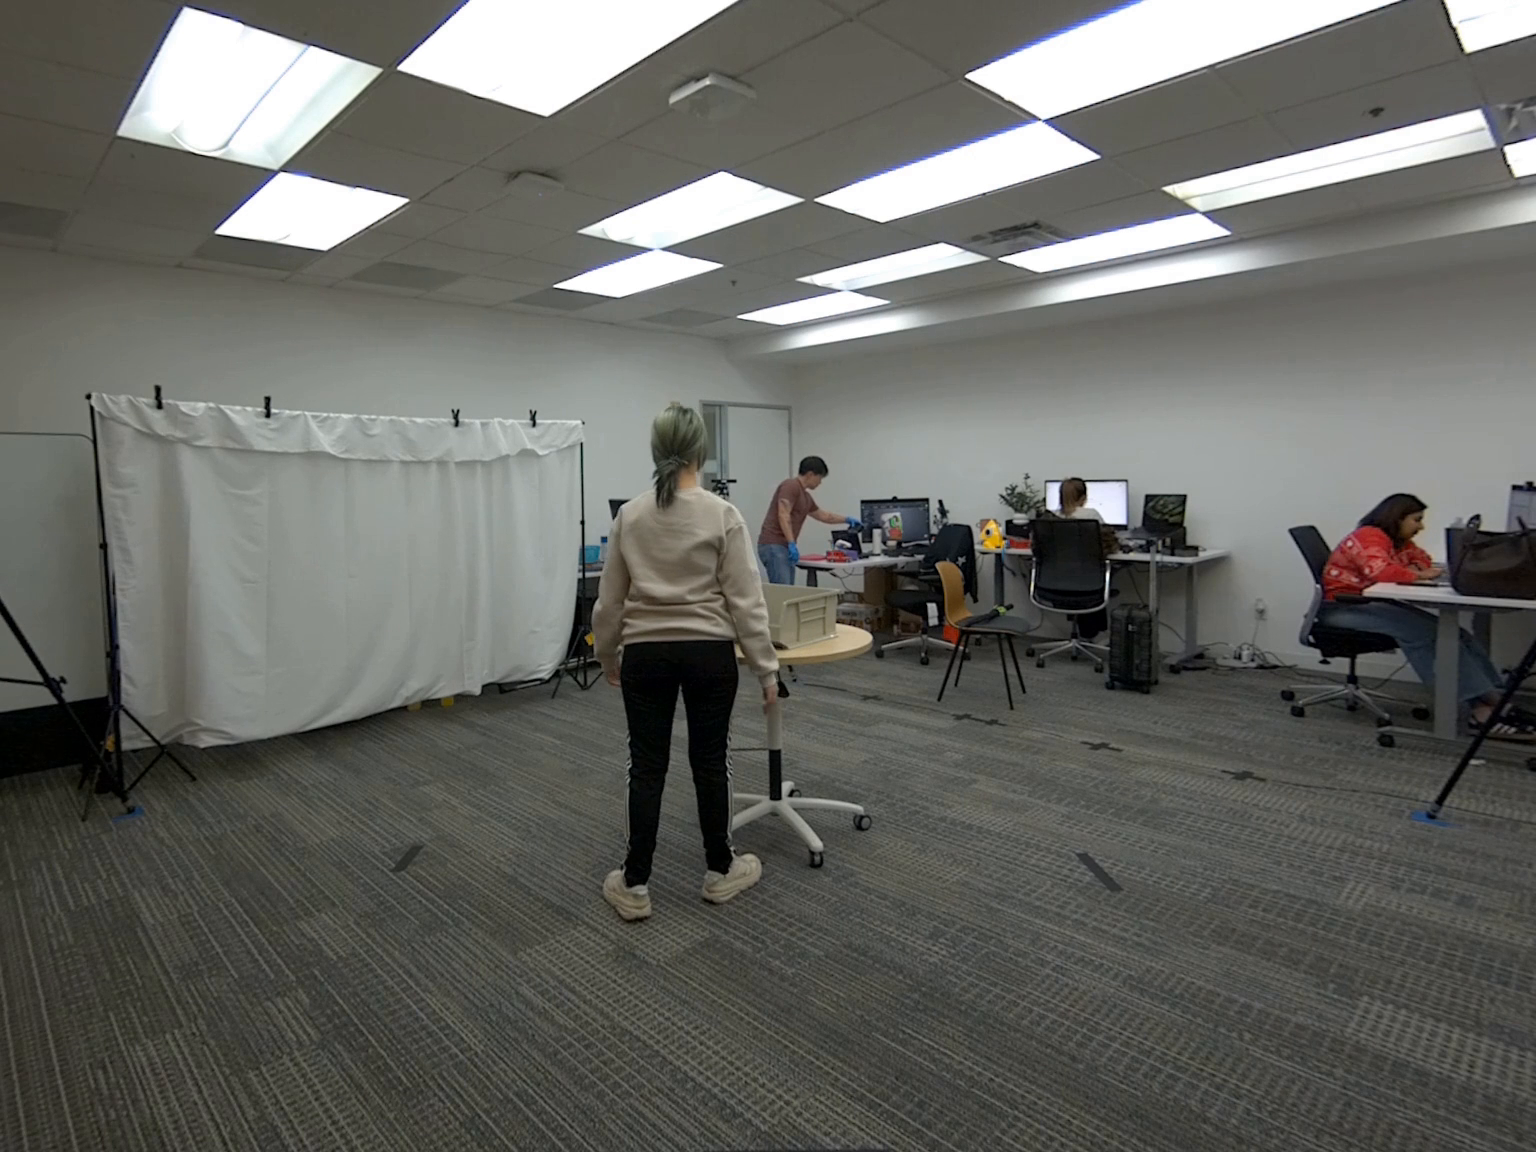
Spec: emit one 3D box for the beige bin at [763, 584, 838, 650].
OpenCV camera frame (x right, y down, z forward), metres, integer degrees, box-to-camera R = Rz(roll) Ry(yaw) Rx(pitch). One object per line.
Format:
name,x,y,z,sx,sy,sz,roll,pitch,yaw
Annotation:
beige bin,0.003,0.151,3.300,0.435,0.188,0.367,4,7,41
